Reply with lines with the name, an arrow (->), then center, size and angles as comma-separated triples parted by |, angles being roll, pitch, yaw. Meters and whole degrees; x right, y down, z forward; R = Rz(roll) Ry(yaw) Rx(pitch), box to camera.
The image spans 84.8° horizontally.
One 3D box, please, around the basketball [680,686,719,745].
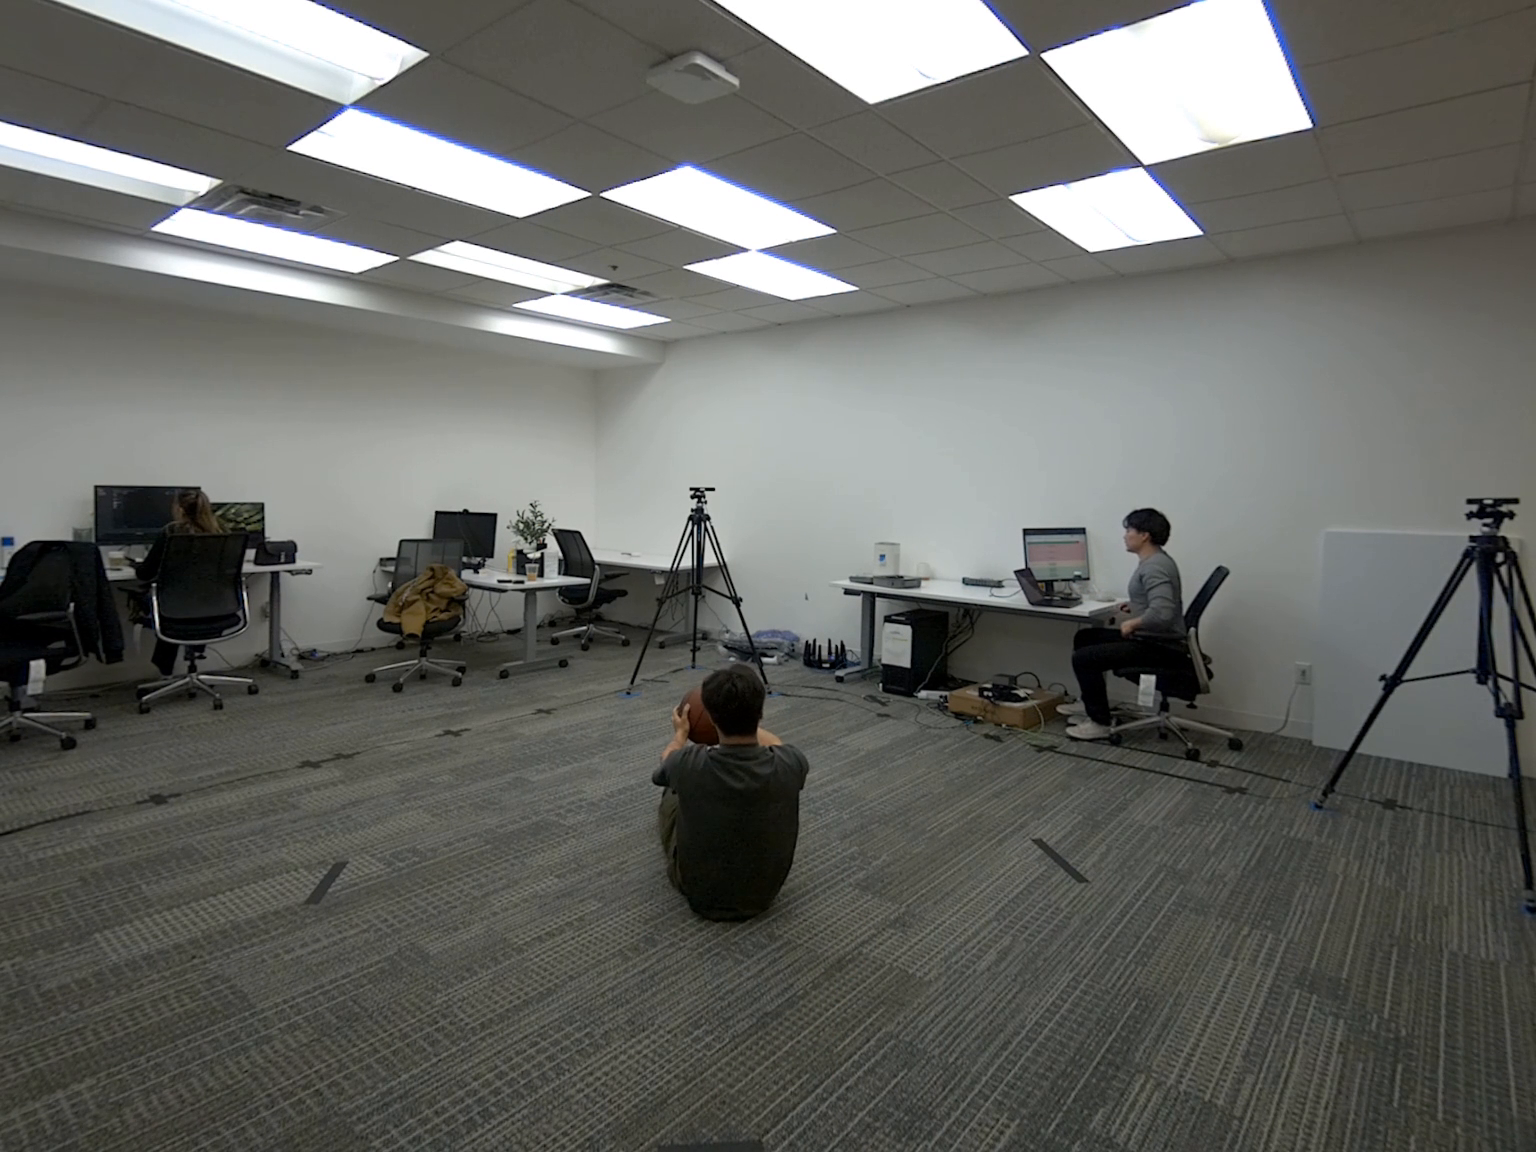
basketball -> -0.253, 0.552, 3.385 | 0.235, 0.235, 0.237 | 1, 4, -2
